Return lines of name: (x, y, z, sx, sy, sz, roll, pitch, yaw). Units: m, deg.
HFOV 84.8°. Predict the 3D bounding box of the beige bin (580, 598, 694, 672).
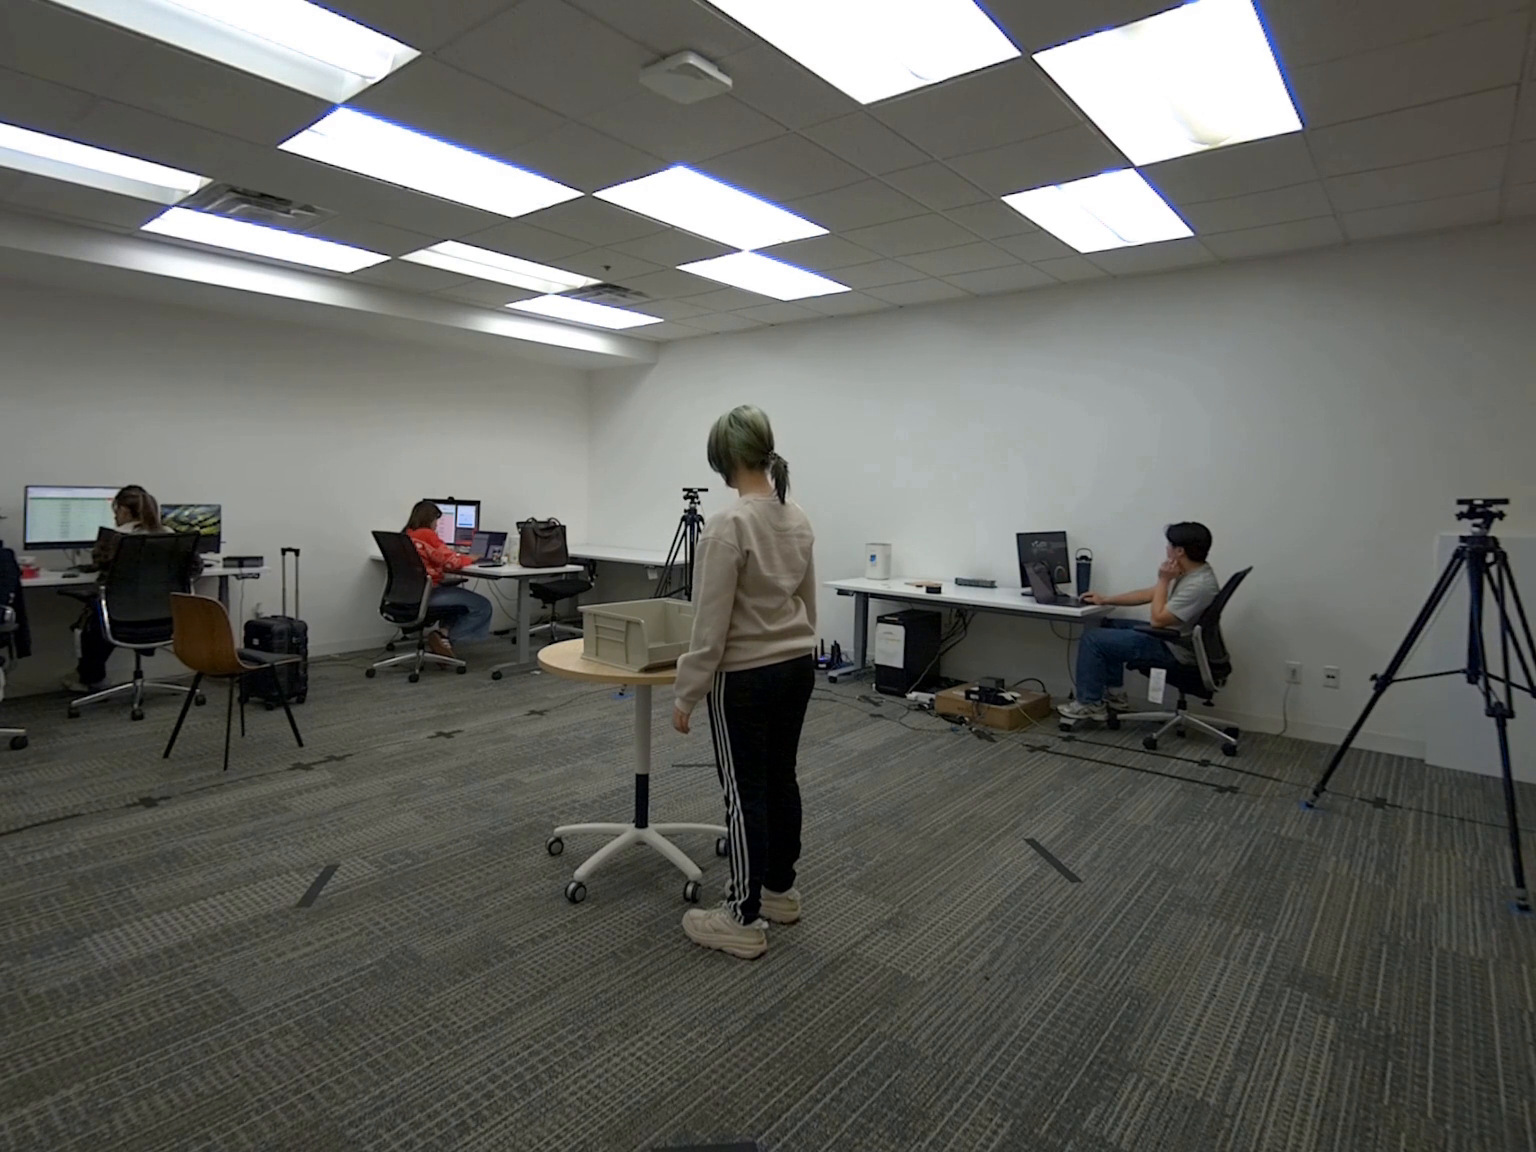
beige bin: (-0.402, 0.203, 3.020, 0.390, 0.188, 0.410, 5, 7, 43)
